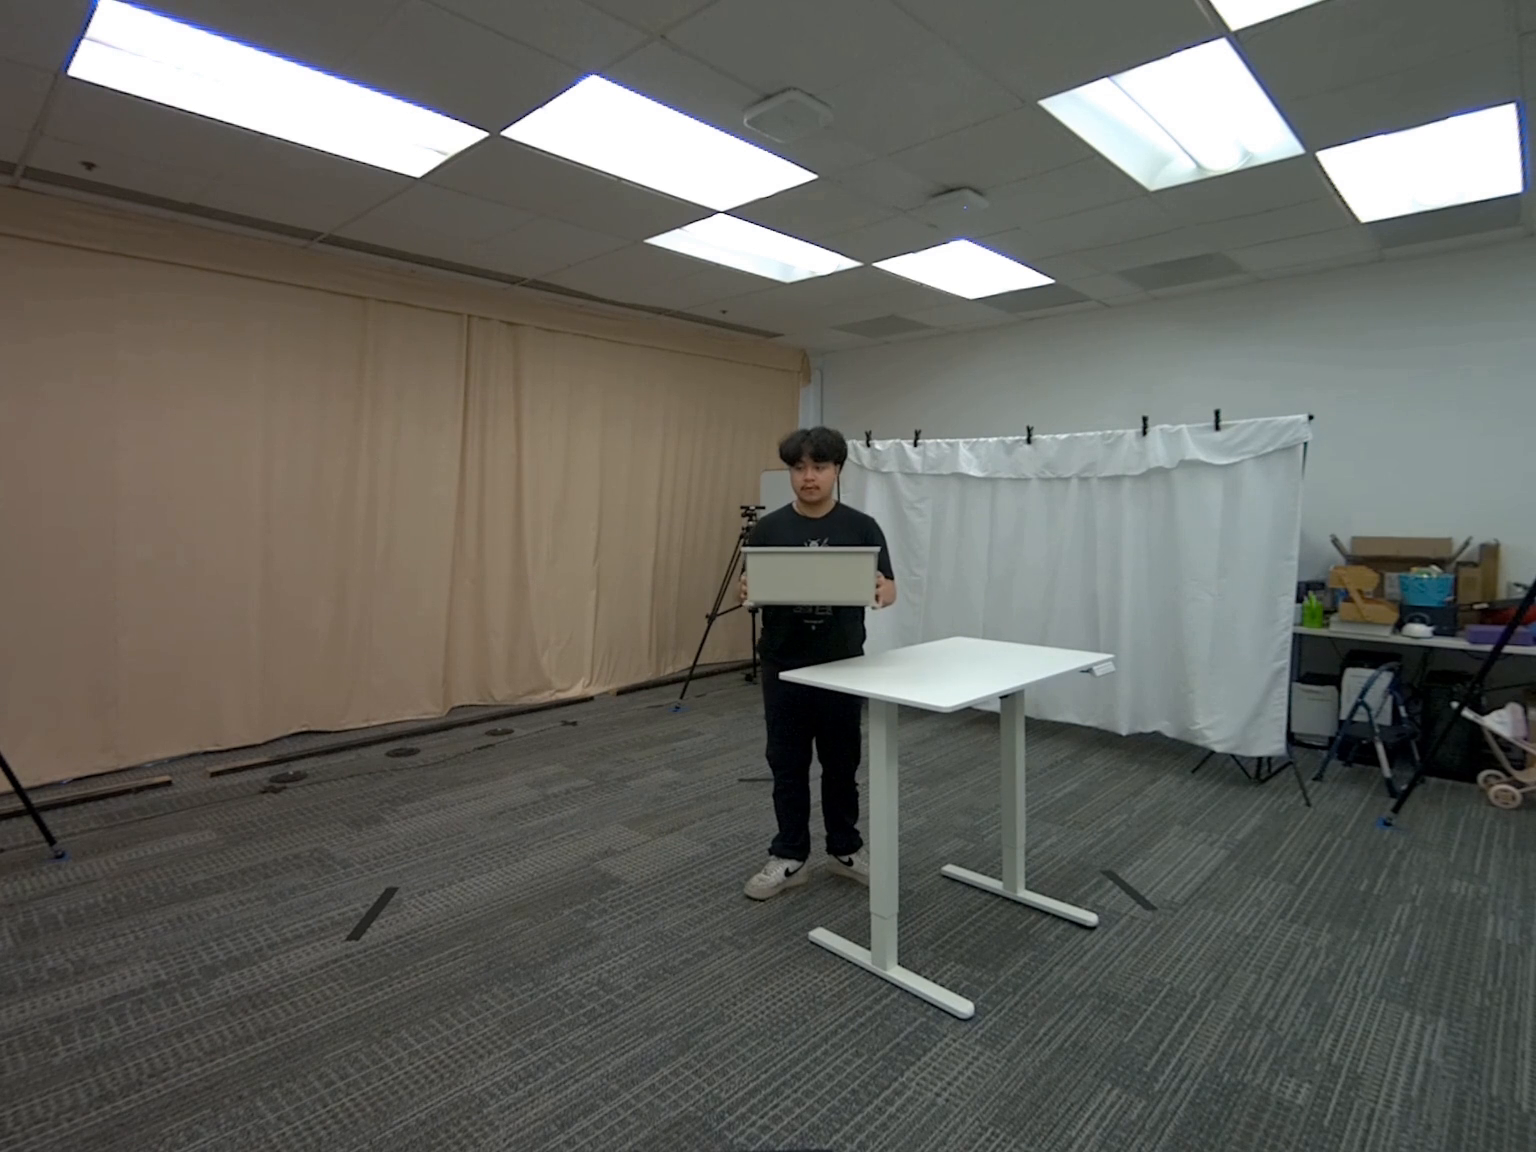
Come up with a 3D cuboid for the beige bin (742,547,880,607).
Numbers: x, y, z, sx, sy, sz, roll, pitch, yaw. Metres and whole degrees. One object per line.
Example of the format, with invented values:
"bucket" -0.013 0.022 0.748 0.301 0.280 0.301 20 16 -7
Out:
"beige bin" 0.143 0.008 2.748 0.426 0.189 0.374 0 1 7
